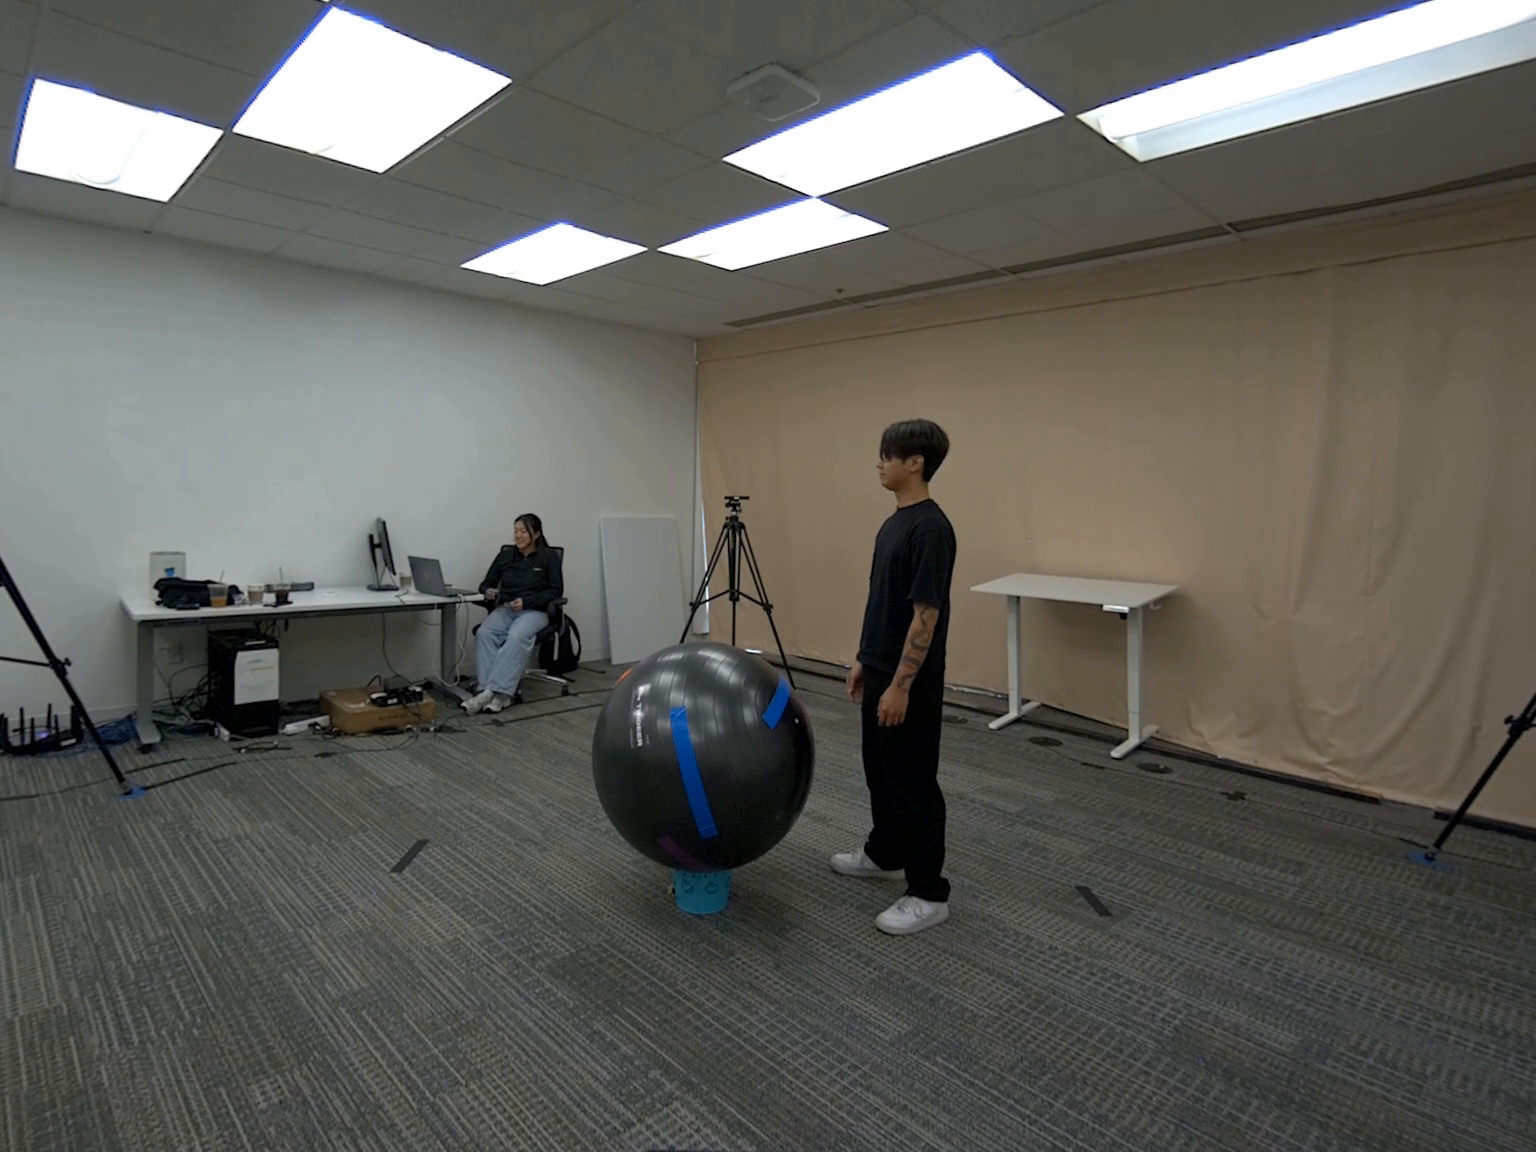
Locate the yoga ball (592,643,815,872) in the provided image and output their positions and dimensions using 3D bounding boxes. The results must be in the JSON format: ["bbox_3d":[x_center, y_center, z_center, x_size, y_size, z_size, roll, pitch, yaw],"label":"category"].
[{"bbox_3d":[-0.234,0.613,2.877,0.757,0.756,0.761,1,4,-1],"label":"yoga ball"}]
